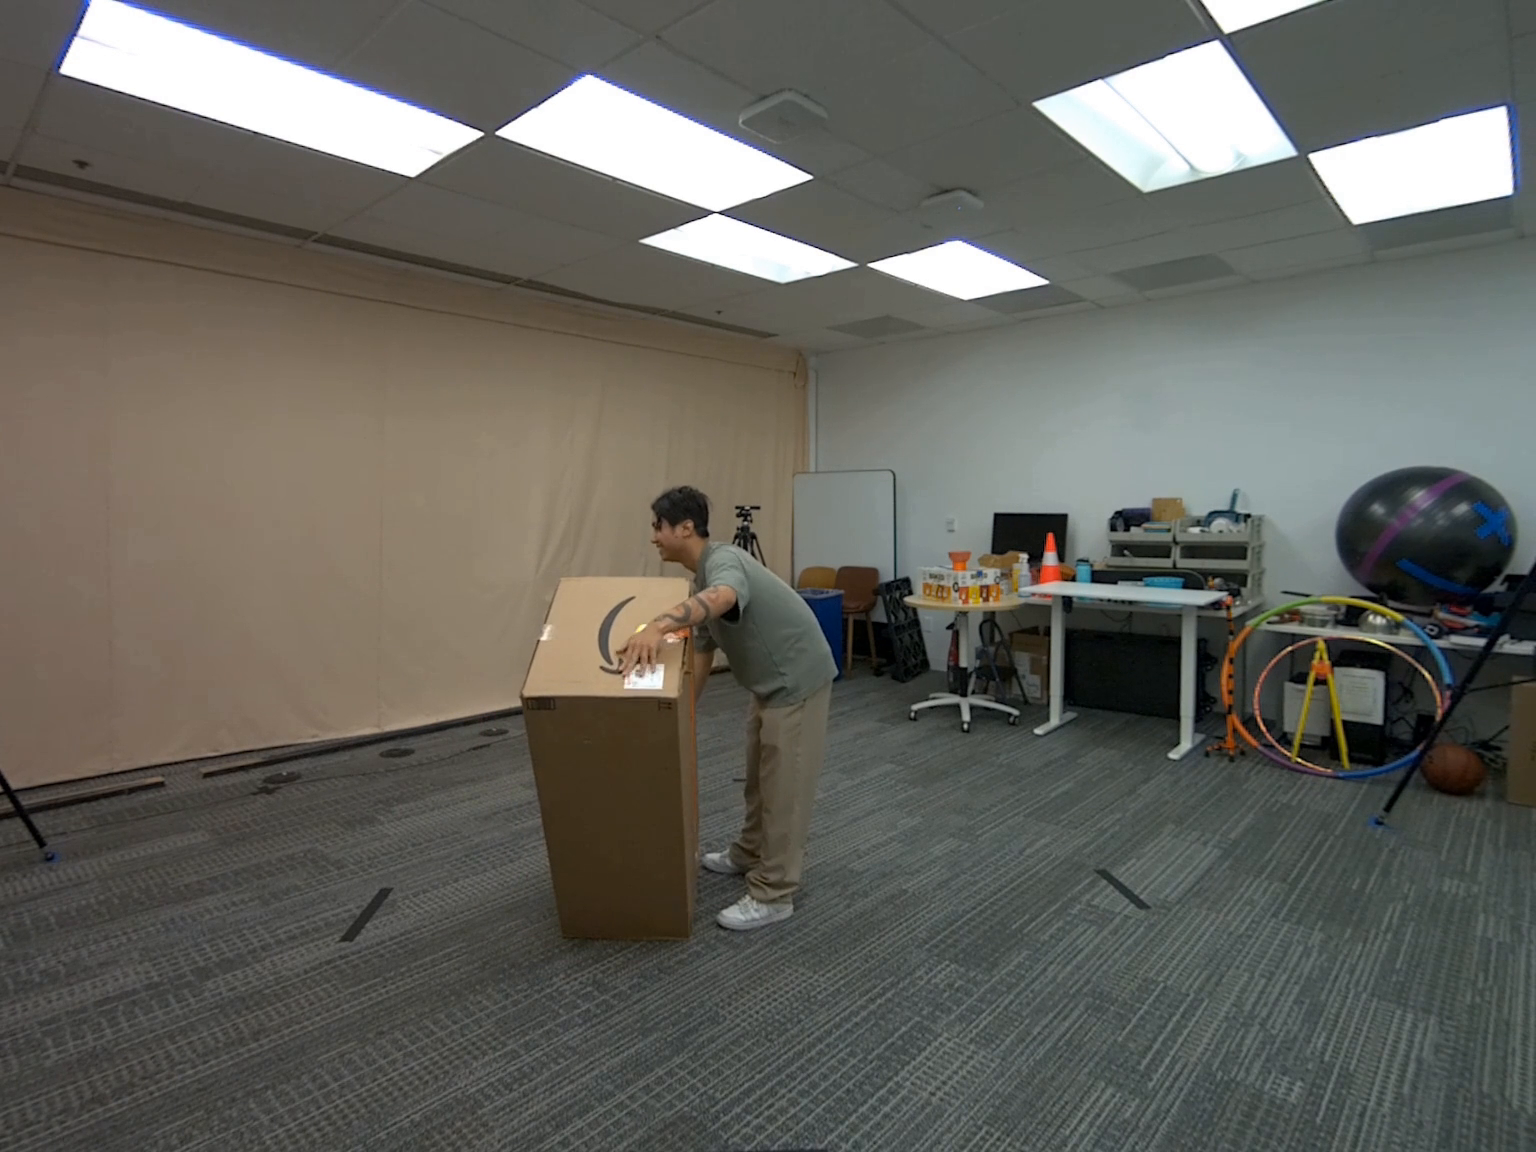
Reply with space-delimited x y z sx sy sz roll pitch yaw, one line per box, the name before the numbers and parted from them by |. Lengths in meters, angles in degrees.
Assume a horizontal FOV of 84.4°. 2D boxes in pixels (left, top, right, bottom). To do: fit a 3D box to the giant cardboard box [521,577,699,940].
giant cardboard box | -0.462 0.595 2.704 0.426 1.009 0.587 1 31 -1
